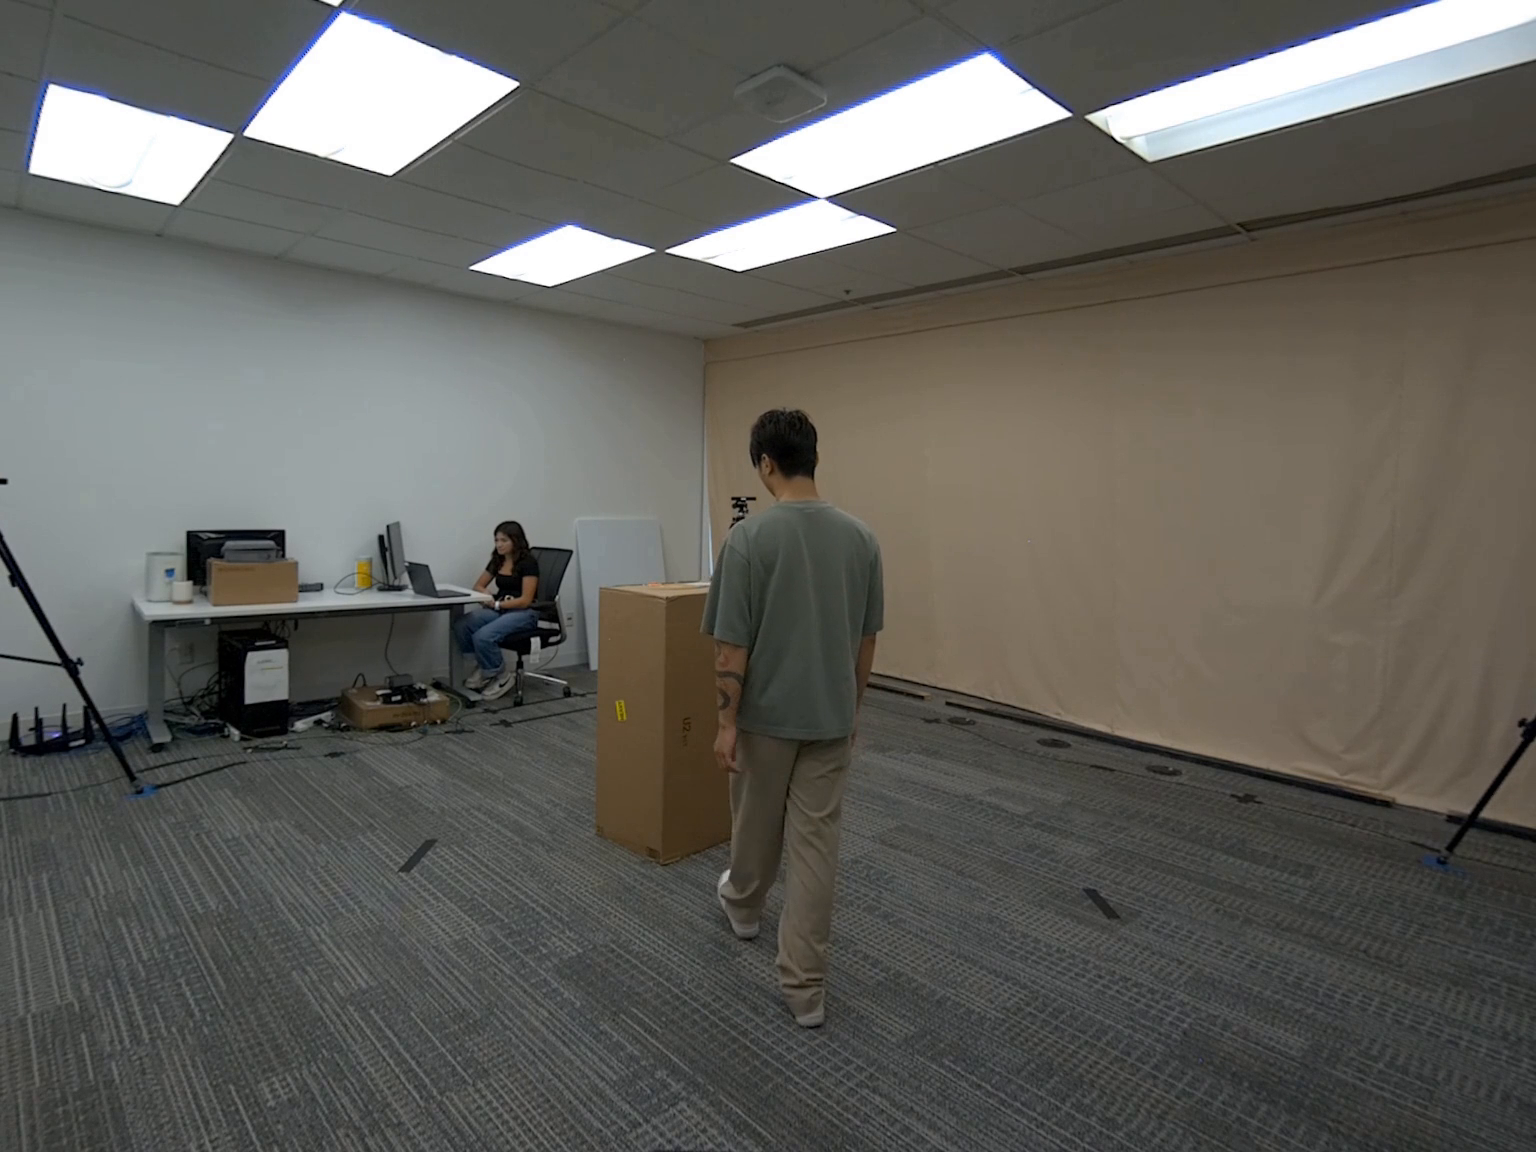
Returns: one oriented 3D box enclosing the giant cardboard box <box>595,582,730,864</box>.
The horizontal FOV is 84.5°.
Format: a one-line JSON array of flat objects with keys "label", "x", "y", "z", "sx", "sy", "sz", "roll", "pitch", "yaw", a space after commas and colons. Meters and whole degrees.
[{"label": "giant cardboard box", "x": -0.366, "y": 0.559, "z": 3.505, "sx": 0.437, "sy": 1.023, "sz": 0.564, "roll": 4, "pitch": 4, "yaw": 43}]
